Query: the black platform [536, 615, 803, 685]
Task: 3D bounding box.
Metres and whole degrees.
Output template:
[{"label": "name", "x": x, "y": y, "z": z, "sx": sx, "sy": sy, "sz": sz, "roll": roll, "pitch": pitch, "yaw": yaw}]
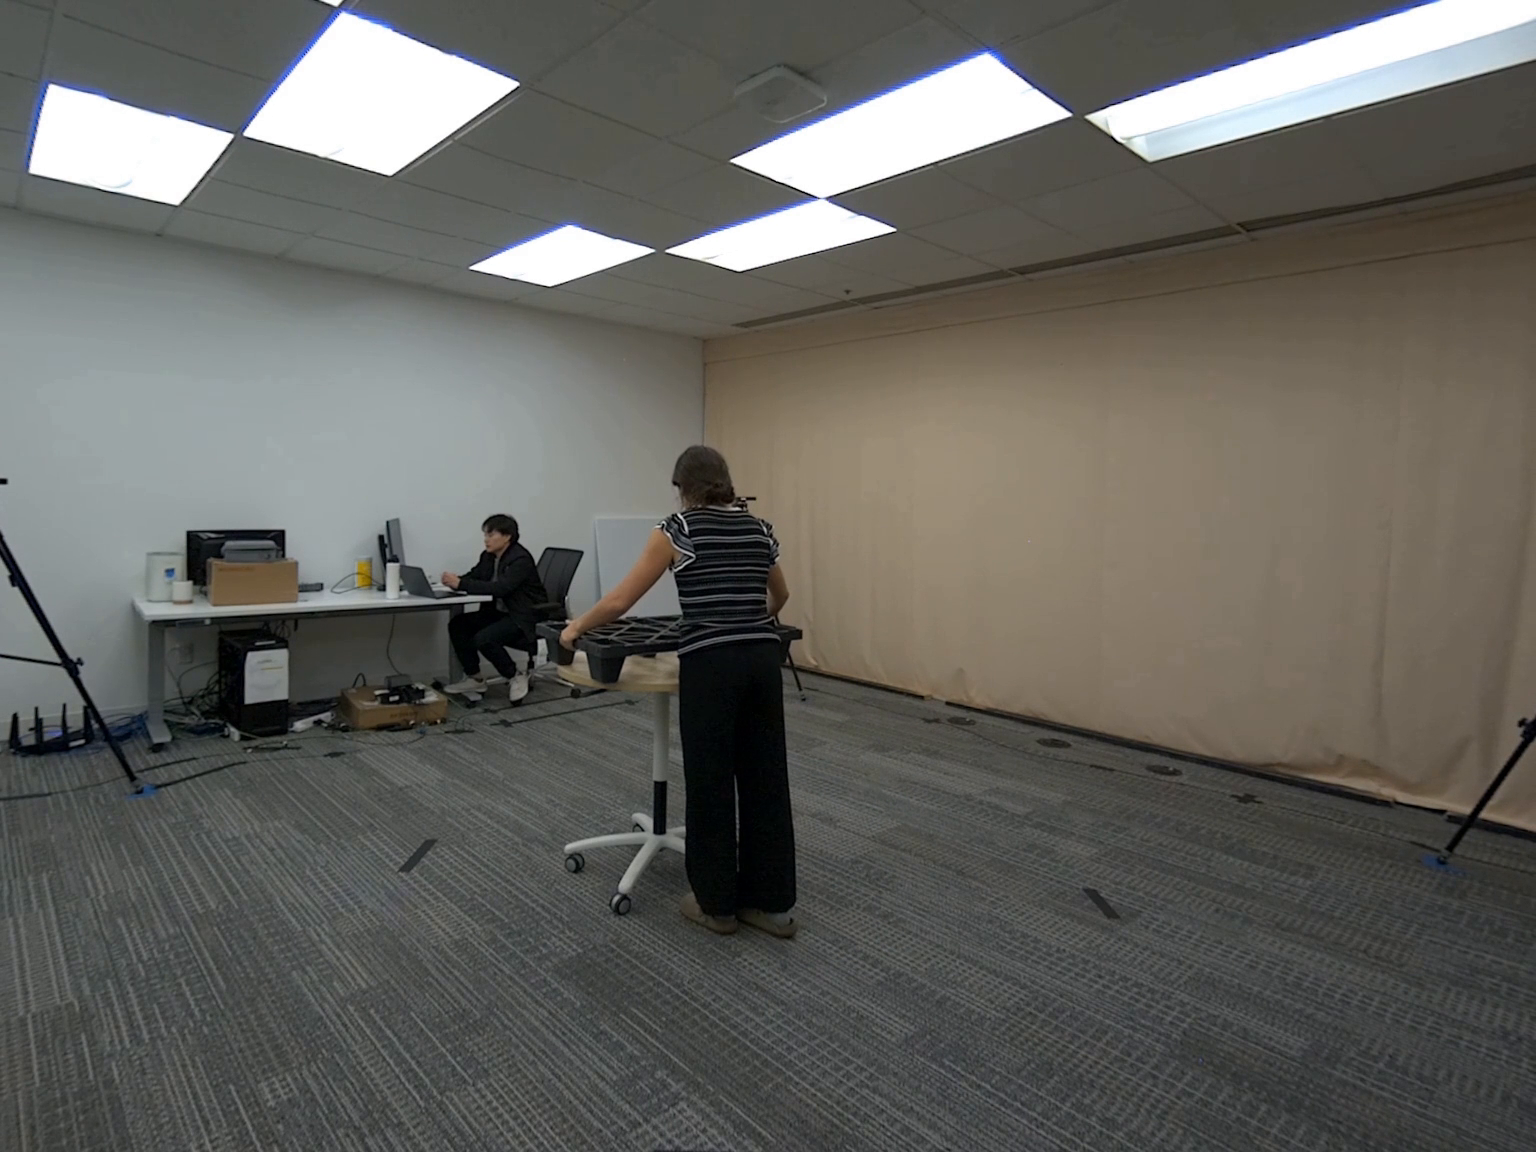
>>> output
[{"label": "black platform", "x": -0.375, "y": 0.252, "z": 3.079, "sx": 0.788, "sy": 0.143, "sz": 0.619, "roll": -2, "pitch": 5, "yaw": -34}]
